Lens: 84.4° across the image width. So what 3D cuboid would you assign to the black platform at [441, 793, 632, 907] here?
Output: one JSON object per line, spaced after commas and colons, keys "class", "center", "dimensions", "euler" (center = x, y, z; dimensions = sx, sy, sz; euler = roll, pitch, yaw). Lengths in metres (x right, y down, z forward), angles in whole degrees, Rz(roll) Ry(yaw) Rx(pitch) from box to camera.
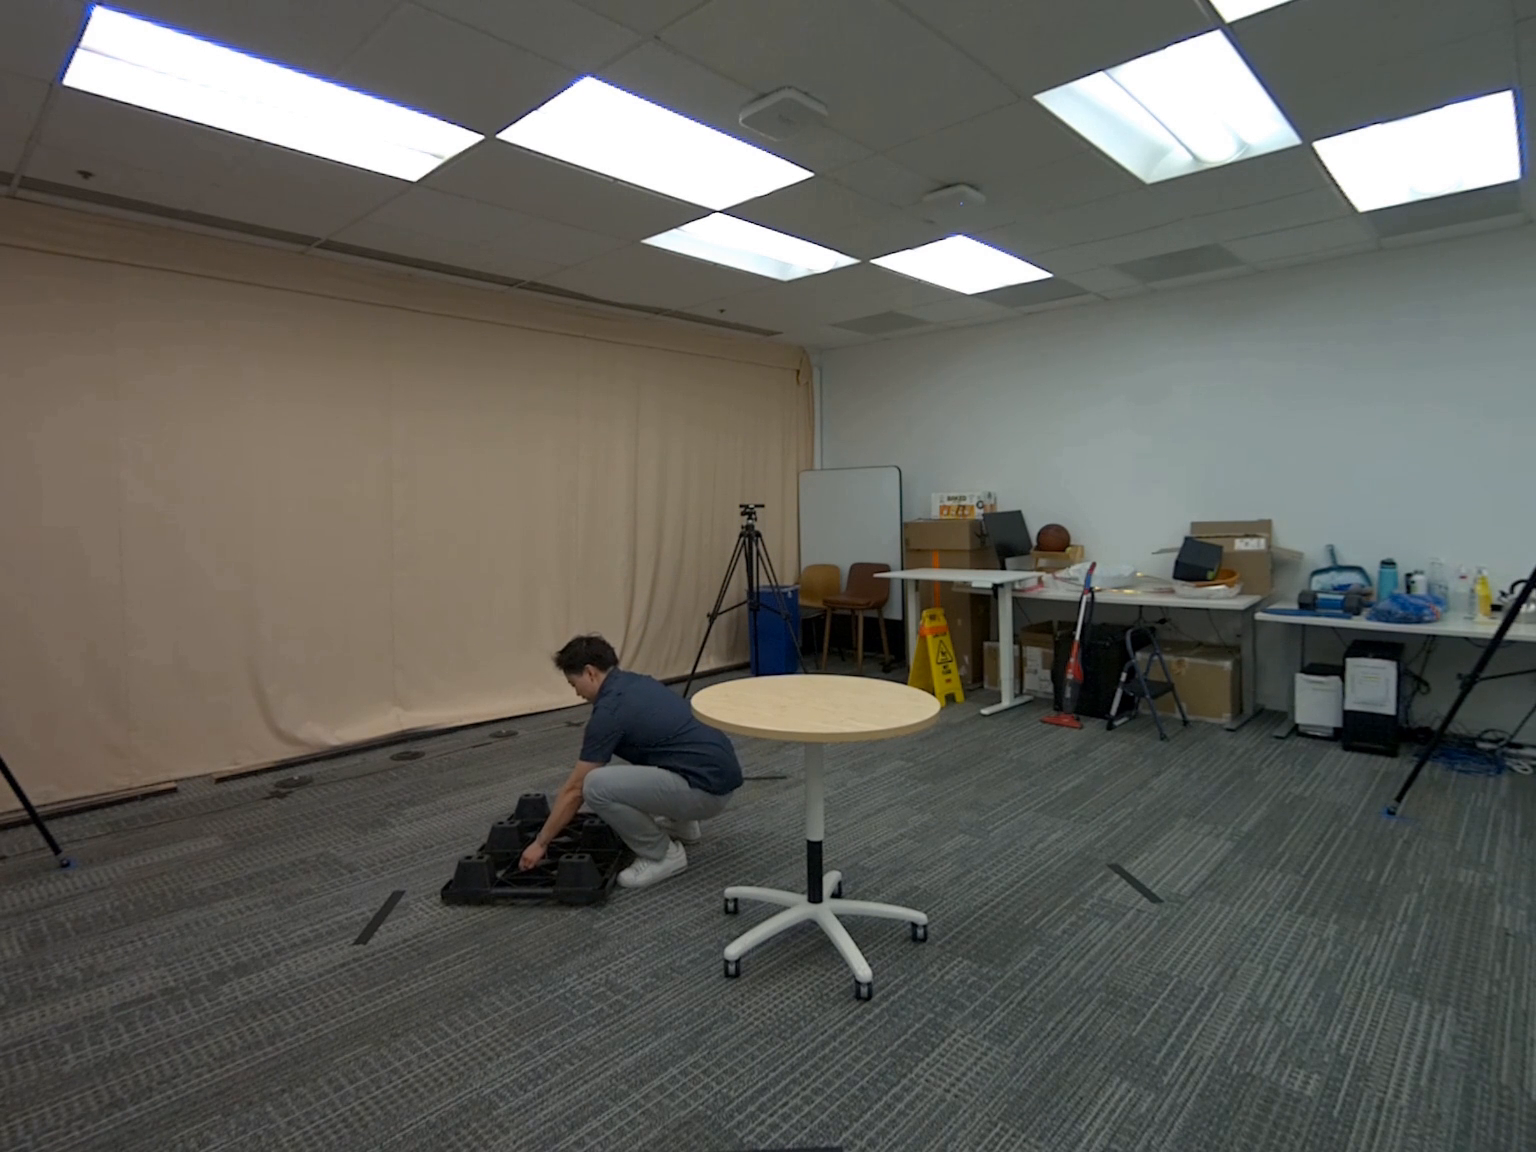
{"class": "black platform", "center": [-0.862, 1.045, 3.339], "dimensions": [0.608, 0.143, 0.804], "euler": [-1, 4, 3]}
